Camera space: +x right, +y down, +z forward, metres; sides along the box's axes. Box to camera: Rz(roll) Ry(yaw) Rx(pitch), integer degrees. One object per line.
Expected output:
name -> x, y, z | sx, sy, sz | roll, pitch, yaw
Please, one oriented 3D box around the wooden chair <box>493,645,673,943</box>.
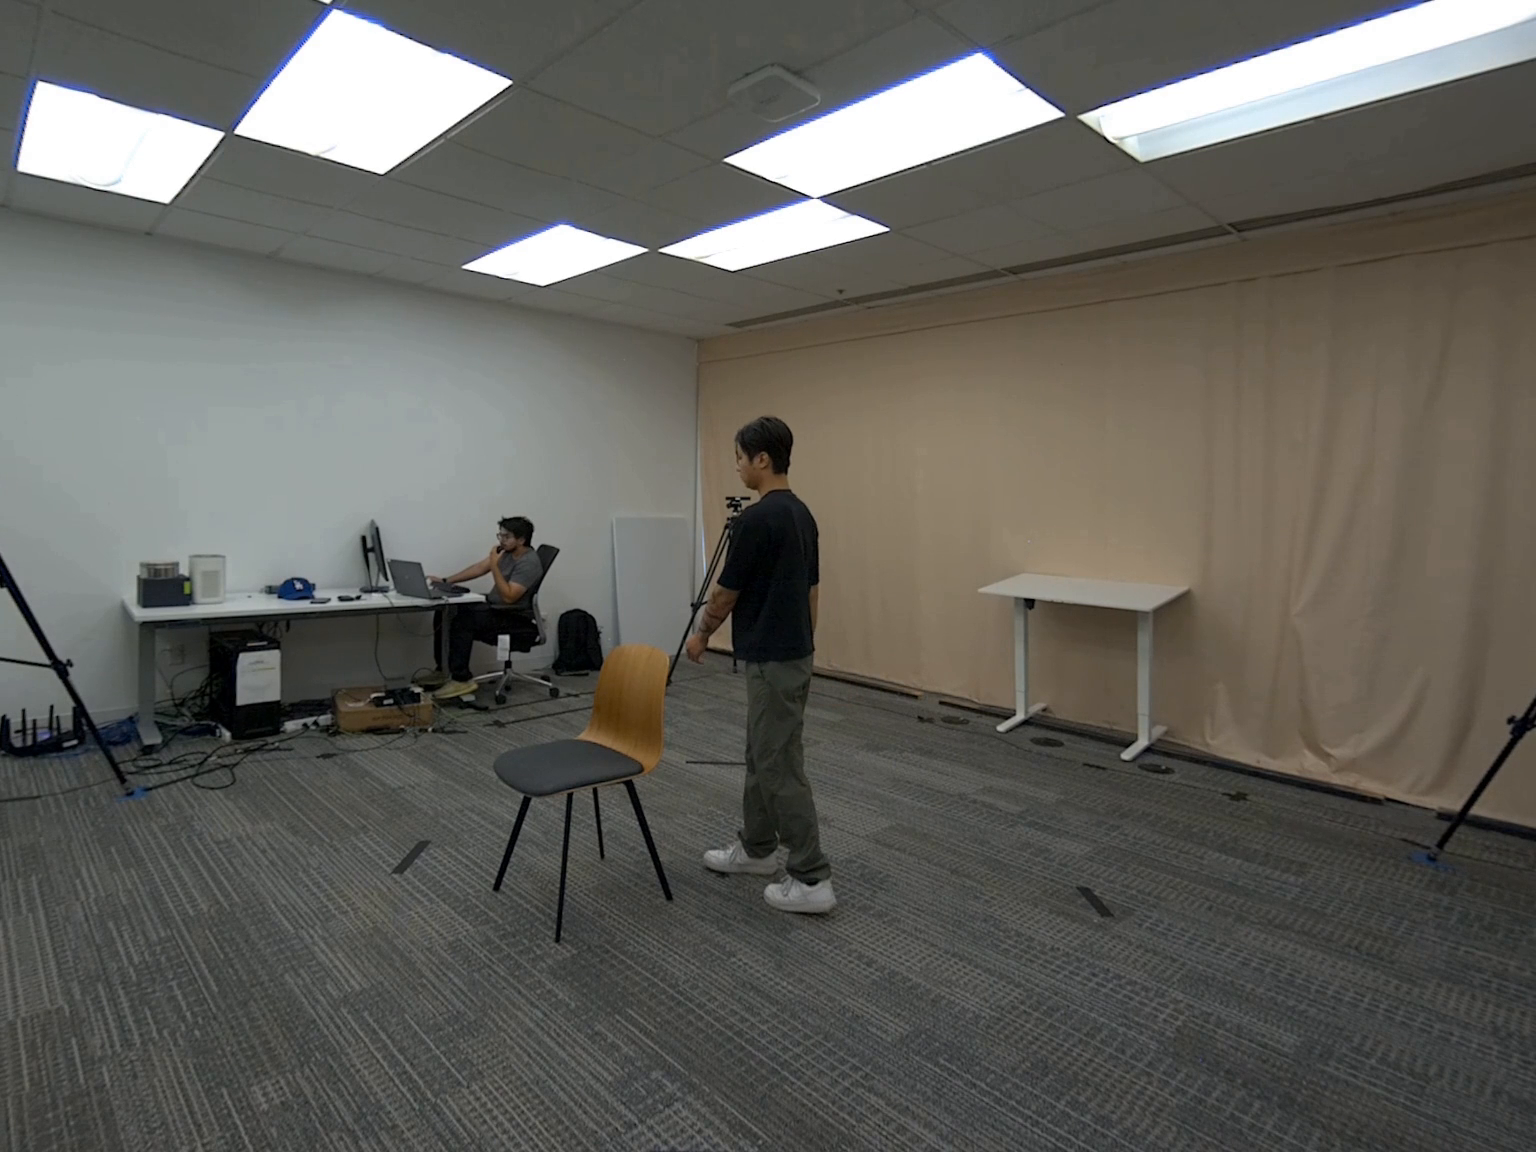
wooden chair -> -0.645, 0.687, 2.890 | 0.510, 0.877, 0.490 | 4, 0, -43
